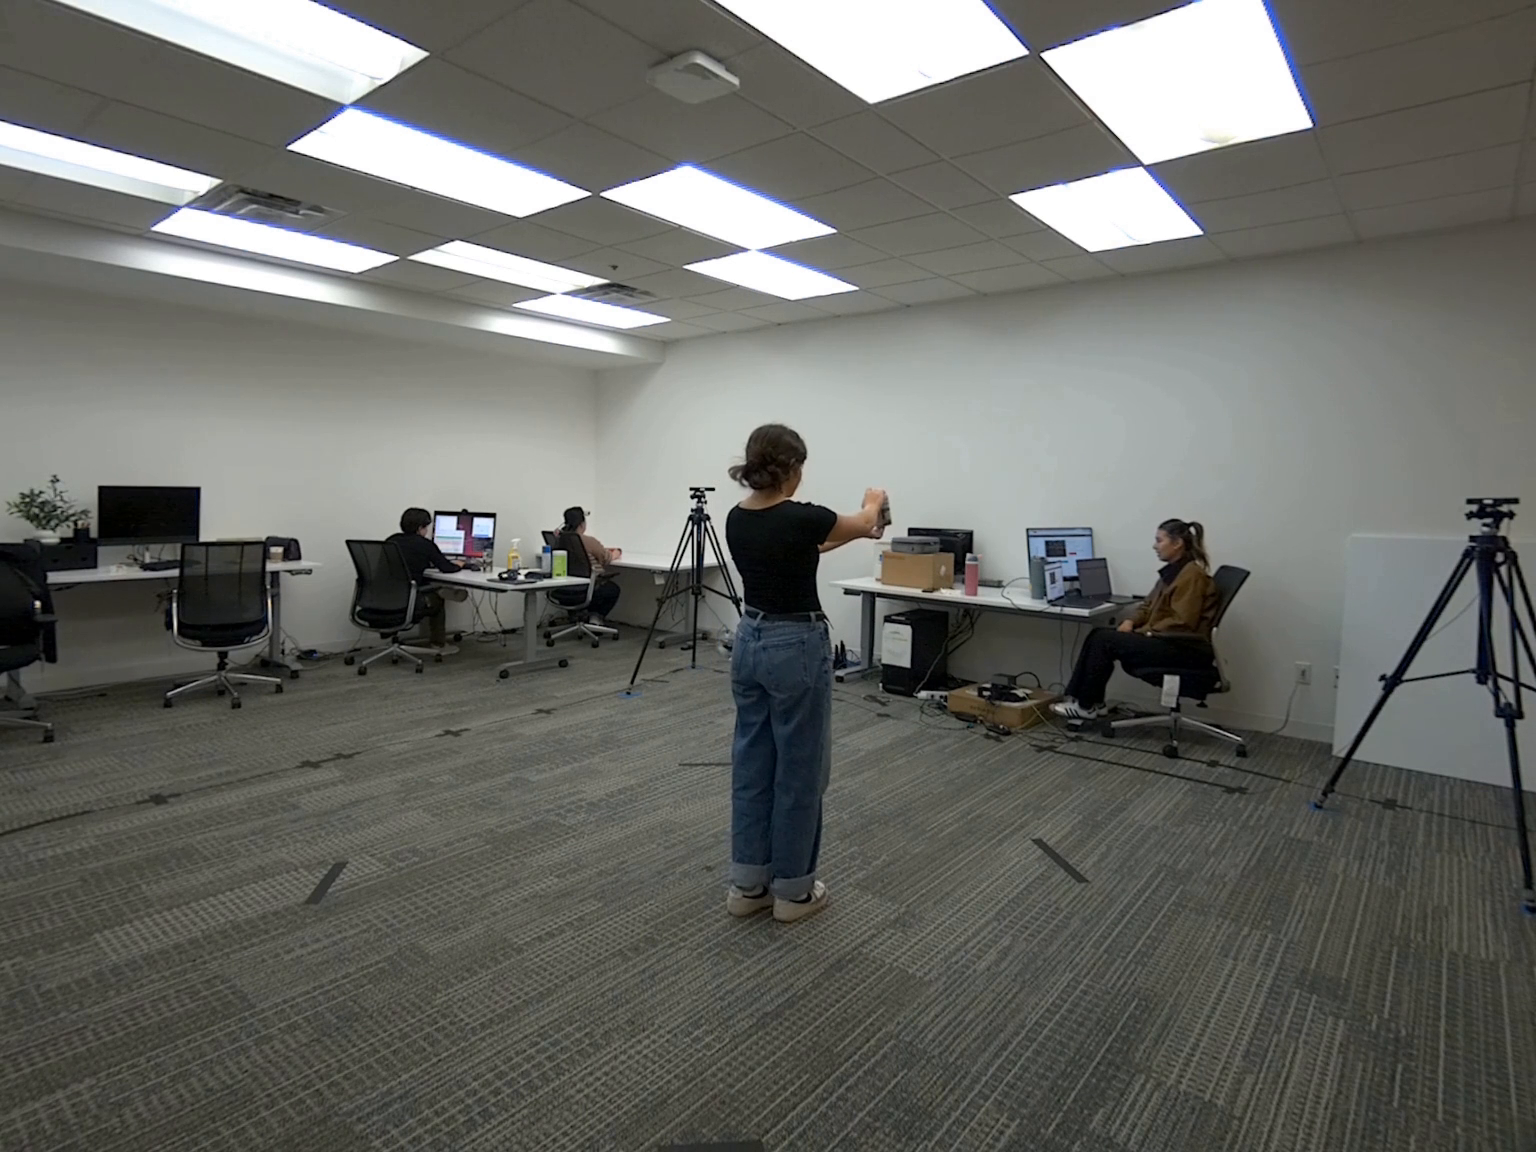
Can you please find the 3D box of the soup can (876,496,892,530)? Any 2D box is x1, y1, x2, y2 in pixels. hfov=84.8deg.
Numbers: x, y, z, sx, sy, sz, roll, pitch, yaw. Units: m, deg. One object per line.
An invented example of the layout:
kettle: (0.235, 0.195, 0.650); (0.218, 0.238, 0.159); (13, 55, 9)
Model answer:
soup can: (0.412, -0.250, 3.174); (0.067, 0.120, 0.068); (-9, 8, 0)
